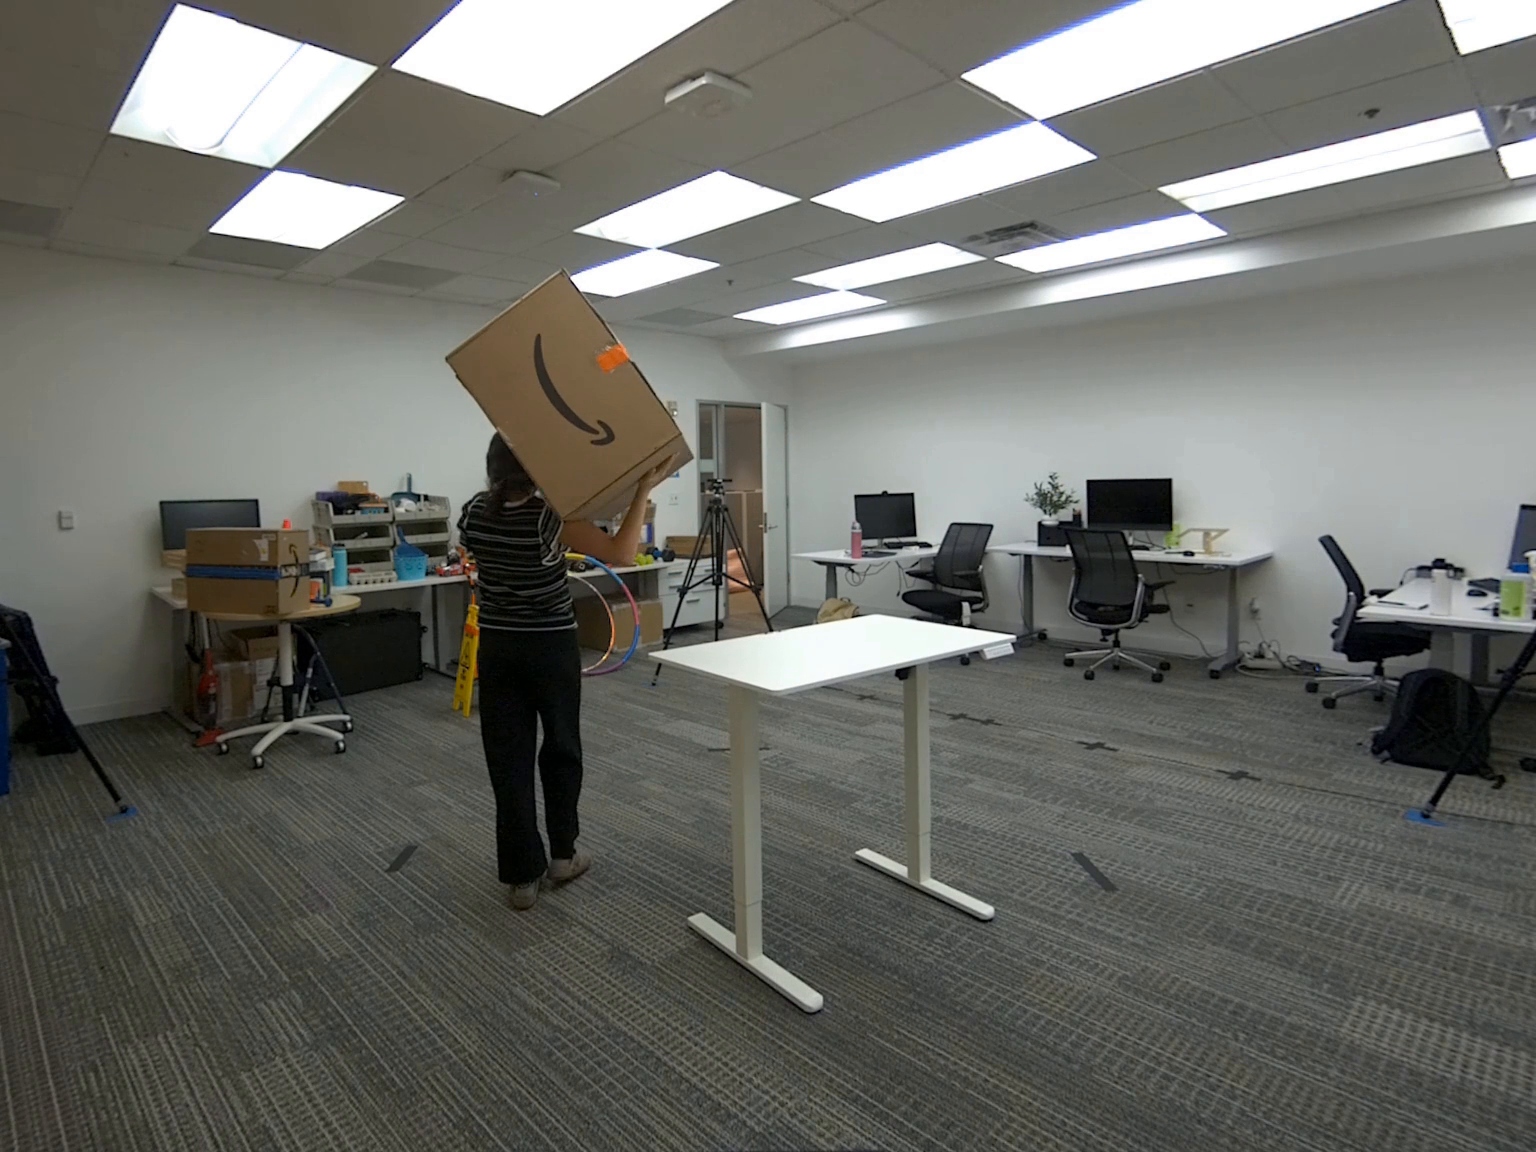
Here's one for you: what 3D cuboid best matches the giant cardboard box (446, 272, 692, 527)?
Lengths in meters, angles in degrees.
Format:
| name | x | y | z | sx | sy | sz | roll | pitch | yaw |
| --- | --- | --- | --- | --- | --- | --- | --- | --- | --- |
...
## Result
| name | x | y | z | sx | sy | sz | roll | pitch | yaw |
| --- | --- | --- | --- | --- | --- | --- | --- | --- | --- |
| giant cardboard box | -0.597 | -0.542 | 2.918 | 0.426 | 0.576 | 1.029 | -36 | 4 | 0 |
